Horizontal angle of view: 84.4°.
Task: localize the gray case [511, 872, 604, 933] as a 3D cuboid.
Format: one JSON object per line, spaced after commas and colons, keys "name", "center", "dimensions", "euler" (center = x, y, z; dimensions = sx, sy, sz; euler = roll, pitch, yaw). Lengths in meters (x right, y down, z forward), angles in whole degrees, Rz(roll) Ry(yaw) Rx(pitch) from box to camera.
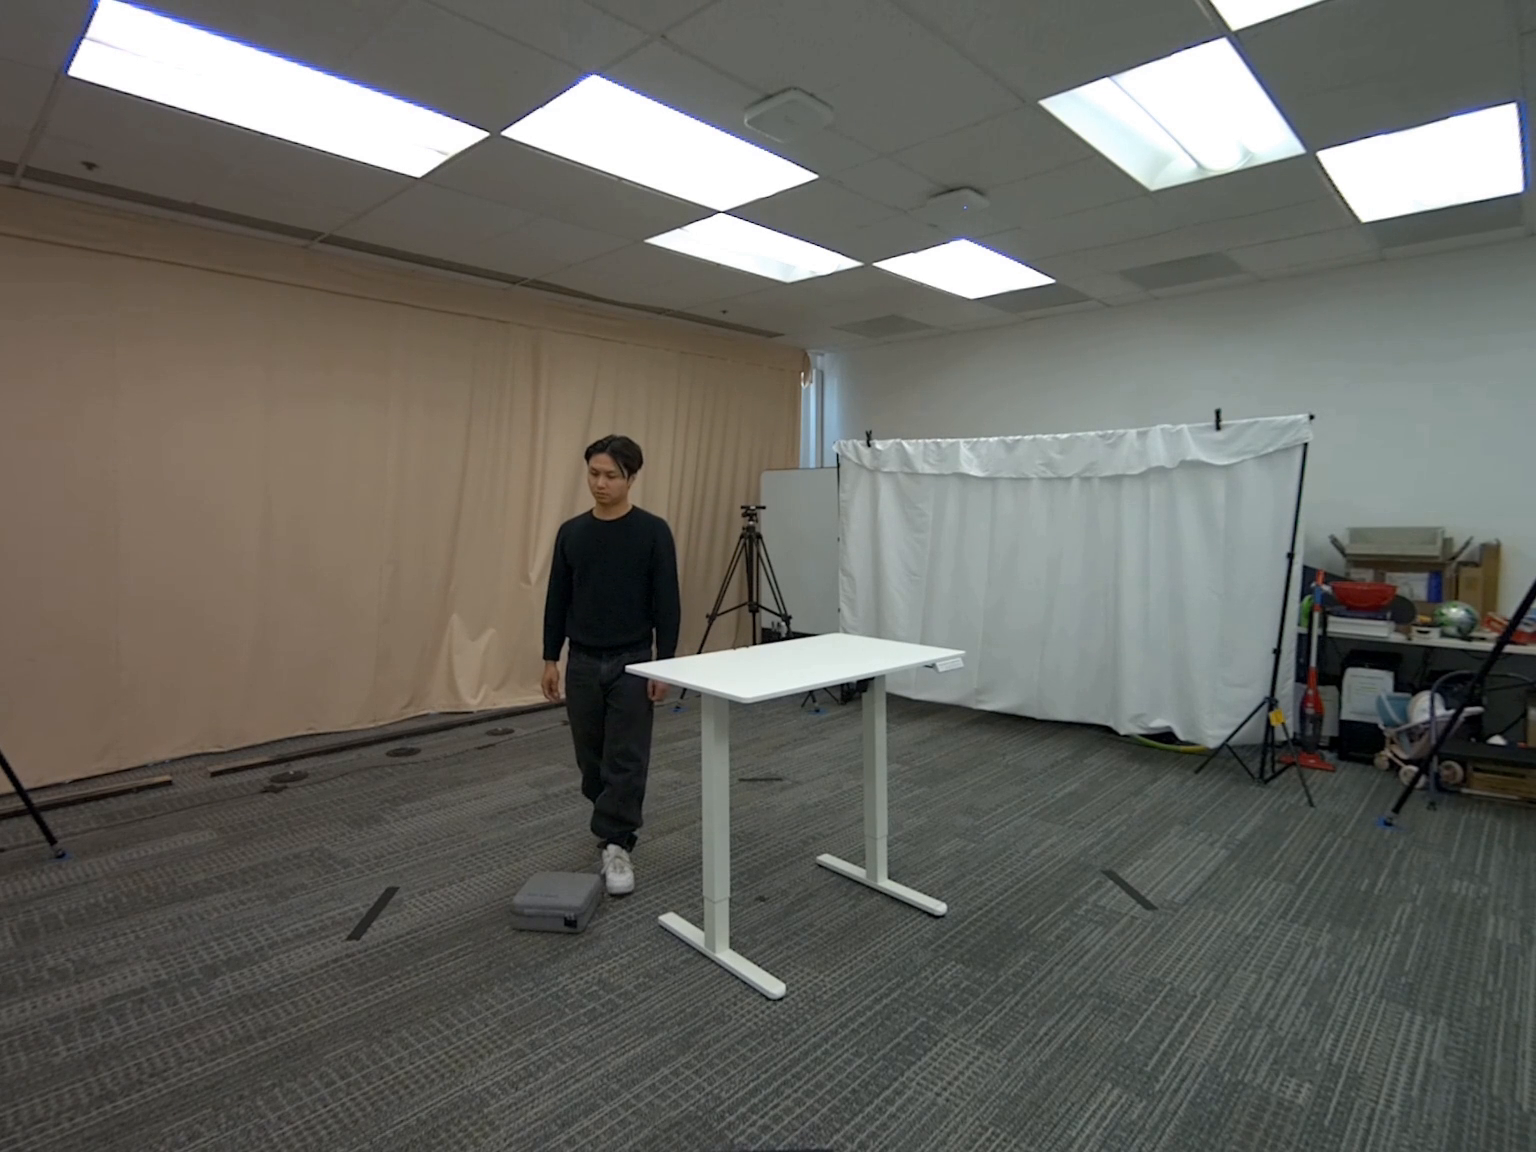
{"name": "gray case", "center": [-0.718, 1.095, 2.870], "dimensions": [0.259, 0.104, 0.259], "euler": [0, 4, 7]}
